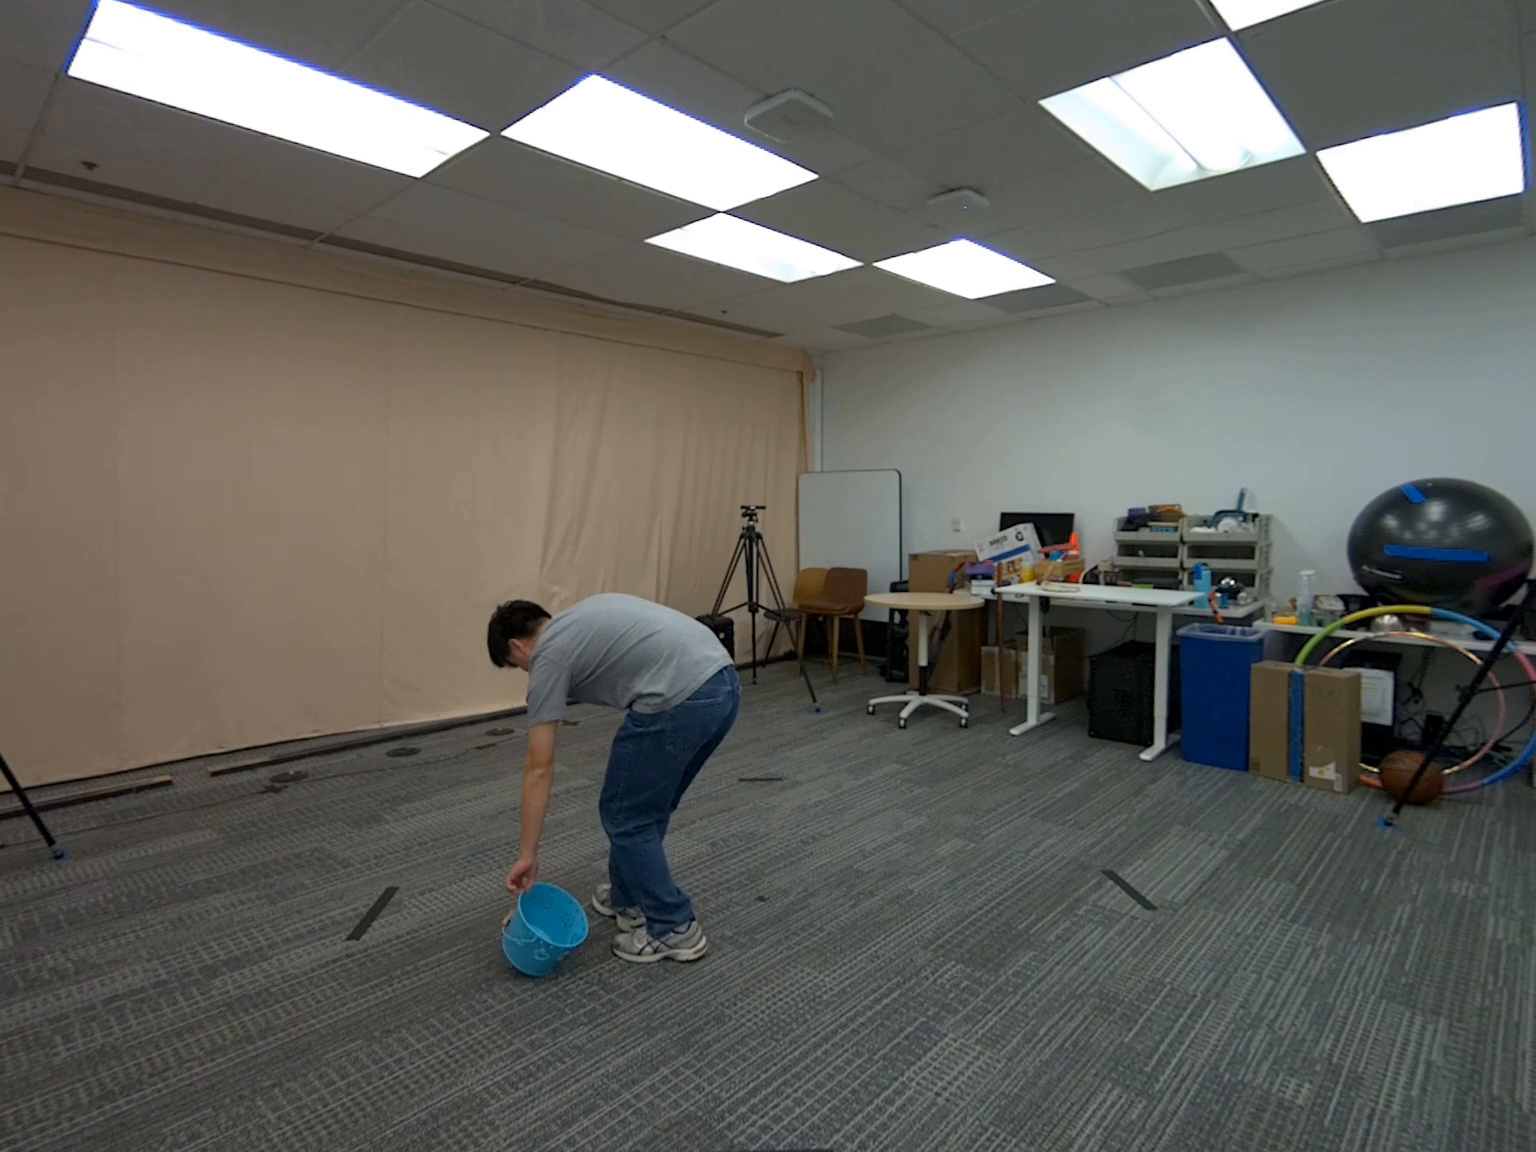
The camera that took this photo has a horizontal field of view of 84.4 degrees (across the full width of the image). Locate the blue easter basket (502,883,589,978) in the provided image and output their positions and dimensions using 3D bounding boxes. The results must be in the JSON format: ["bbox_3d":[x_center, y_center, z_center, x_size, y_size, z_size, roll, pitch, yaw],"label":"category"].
[{"bbox_3d":[-0.679,1.080,2.536,0.241,0.156,0.246,28,13,-9],"label":"blue easter basket"}]
